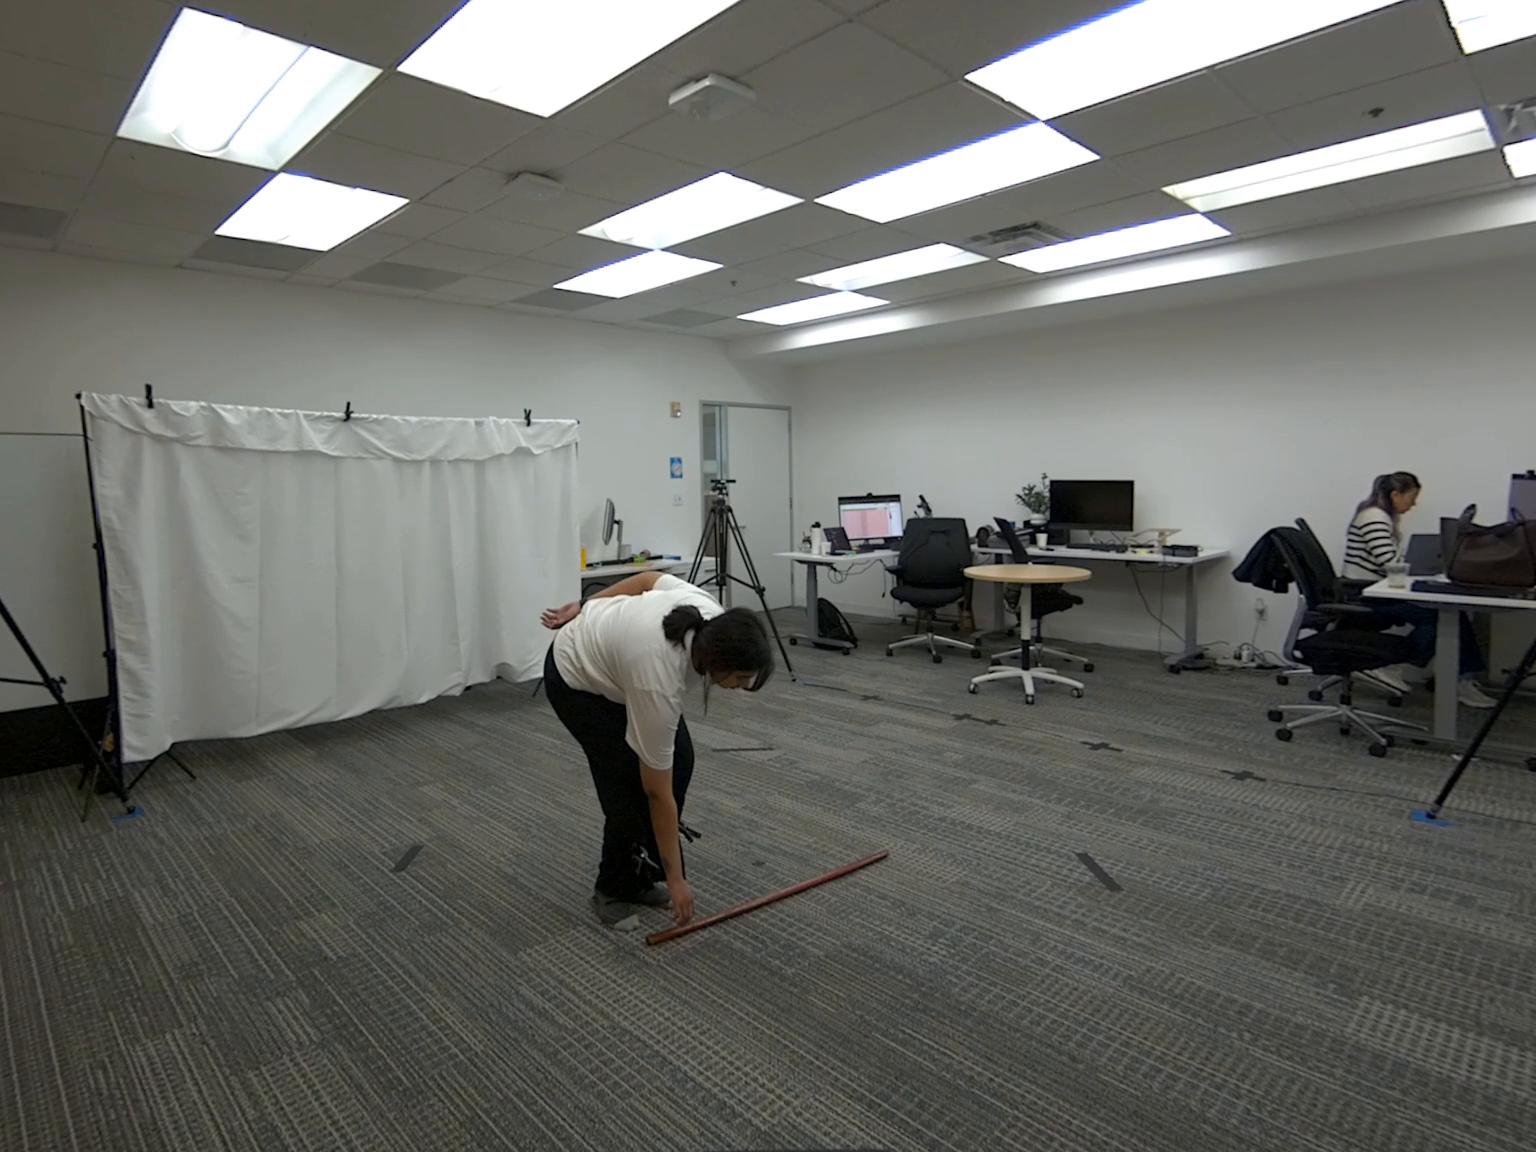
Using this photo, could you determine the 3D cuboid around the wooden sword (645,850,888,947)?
[{"bbox_3d":[0.044,1.051,2.864,0.999,0.024,0.053,-5,5,-36],"label":"wooden sword"}]
